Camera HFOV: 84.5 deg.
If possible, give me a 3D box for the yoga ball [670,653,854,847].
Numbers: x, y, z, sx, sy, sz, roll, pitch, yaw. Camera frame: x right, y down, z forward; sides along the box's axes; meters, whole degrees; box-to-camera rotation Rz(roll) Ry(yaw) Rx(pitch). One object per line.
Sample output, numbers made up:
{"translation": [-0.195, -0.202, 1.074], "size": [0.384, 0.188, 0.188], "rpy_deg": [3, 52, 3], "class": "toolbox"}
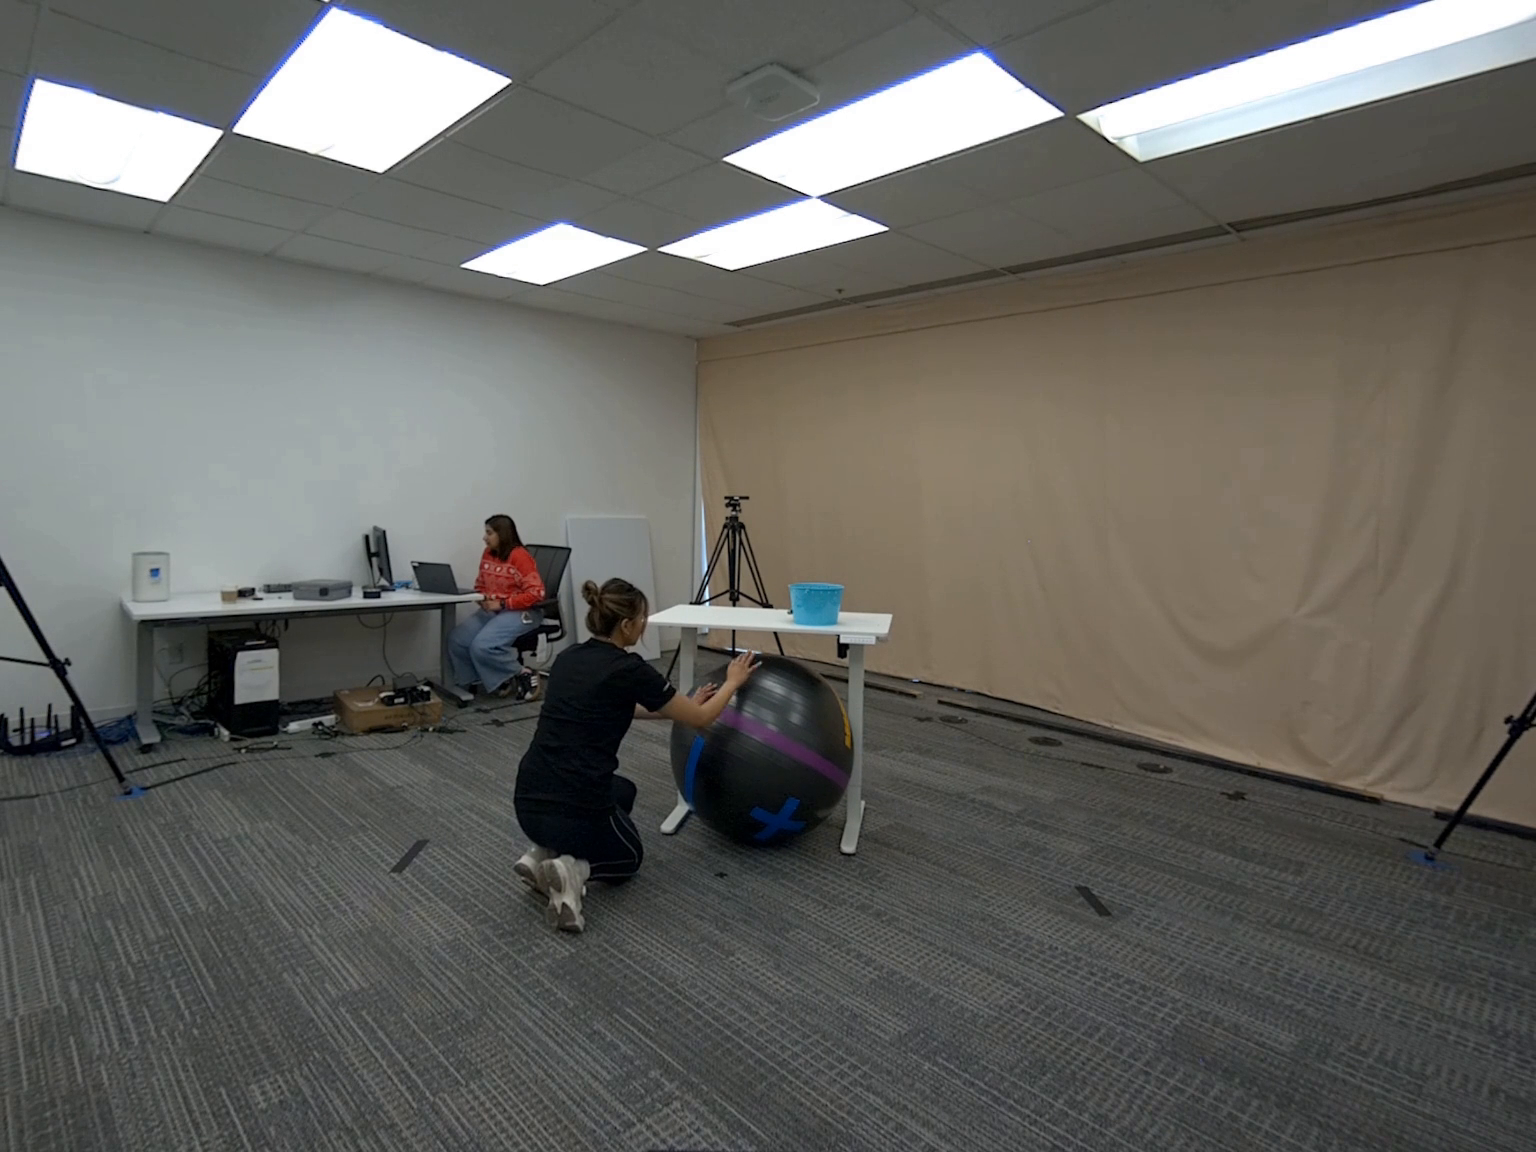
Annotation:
{"translation": [-0.029, 0.722, 3.476], "size": [0.757, 0.756, 0.761], "rpy_deg": [1, 4, -1], "class": "yoga ball"}
